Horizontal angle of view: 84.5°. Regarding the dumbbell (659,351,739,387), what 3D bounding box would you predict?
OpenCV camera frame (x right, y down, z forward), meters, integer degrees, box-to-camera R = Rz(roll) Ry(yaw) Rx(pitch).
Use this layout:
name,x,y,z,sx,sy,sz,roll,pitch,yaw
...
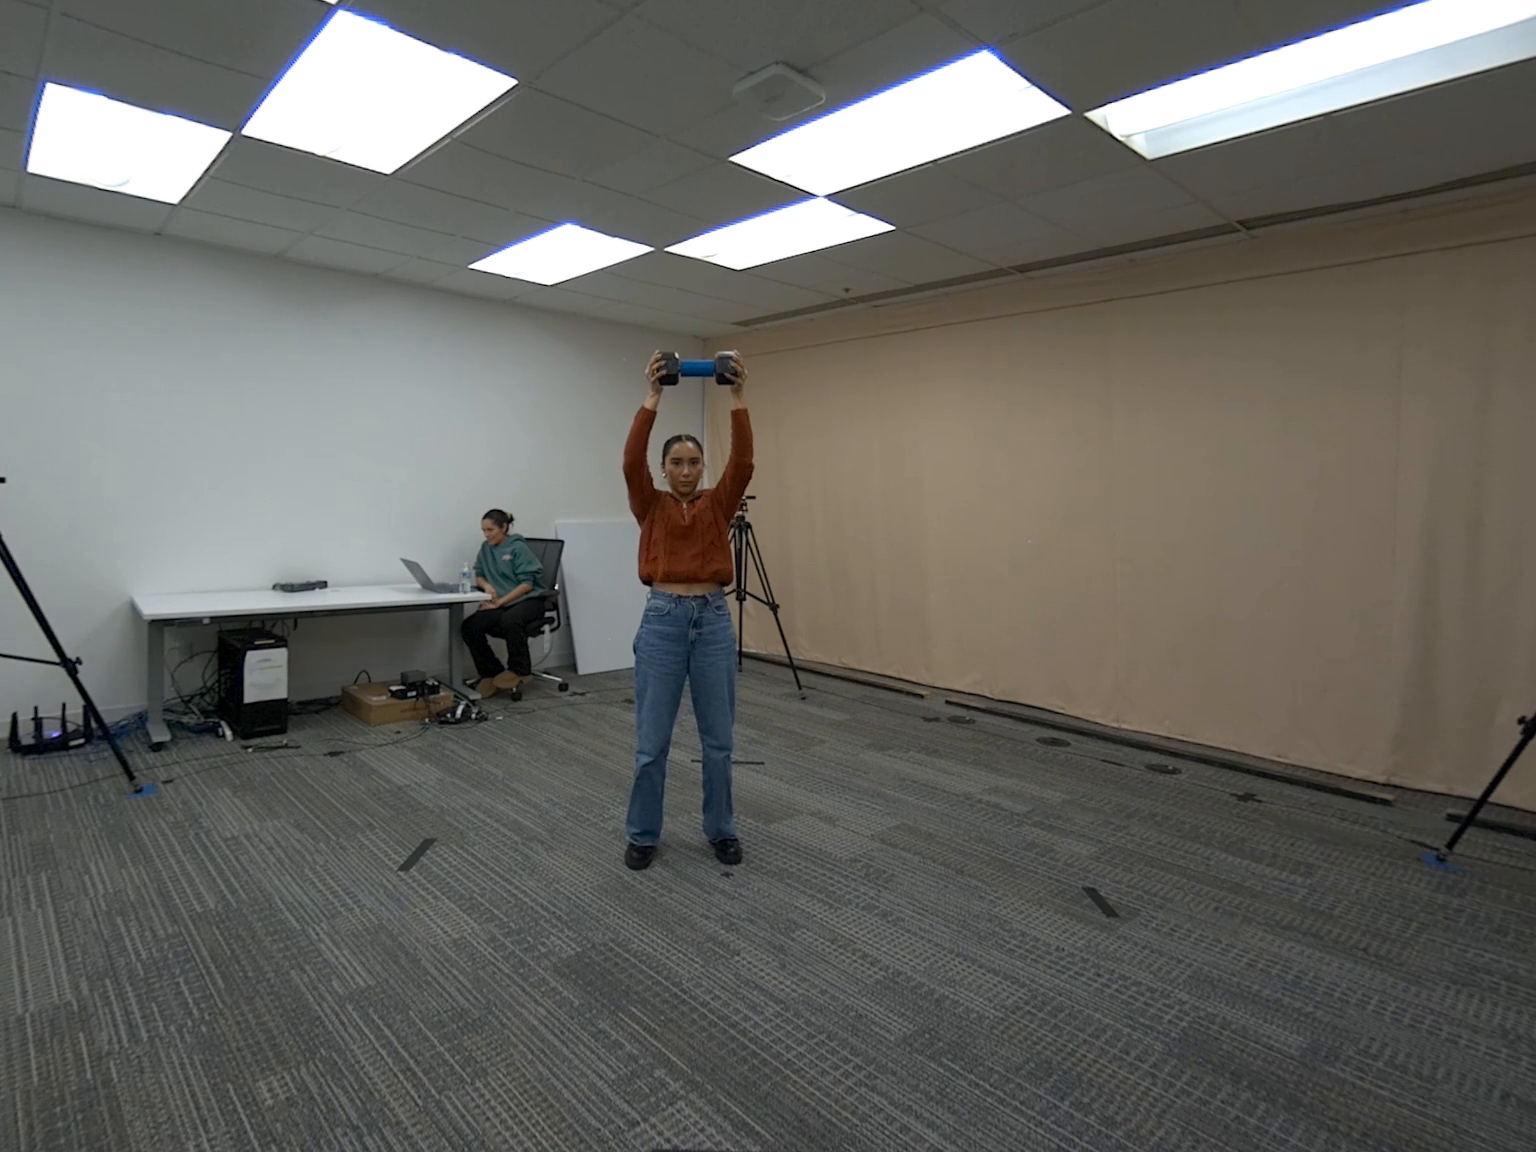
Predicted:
name,x,y,z,sx,sy,sz,roll,pitch,yaw
dumbbell,-0.269,-0.741,3.036,0.293,0.123,0.108,-1,-2,-1
